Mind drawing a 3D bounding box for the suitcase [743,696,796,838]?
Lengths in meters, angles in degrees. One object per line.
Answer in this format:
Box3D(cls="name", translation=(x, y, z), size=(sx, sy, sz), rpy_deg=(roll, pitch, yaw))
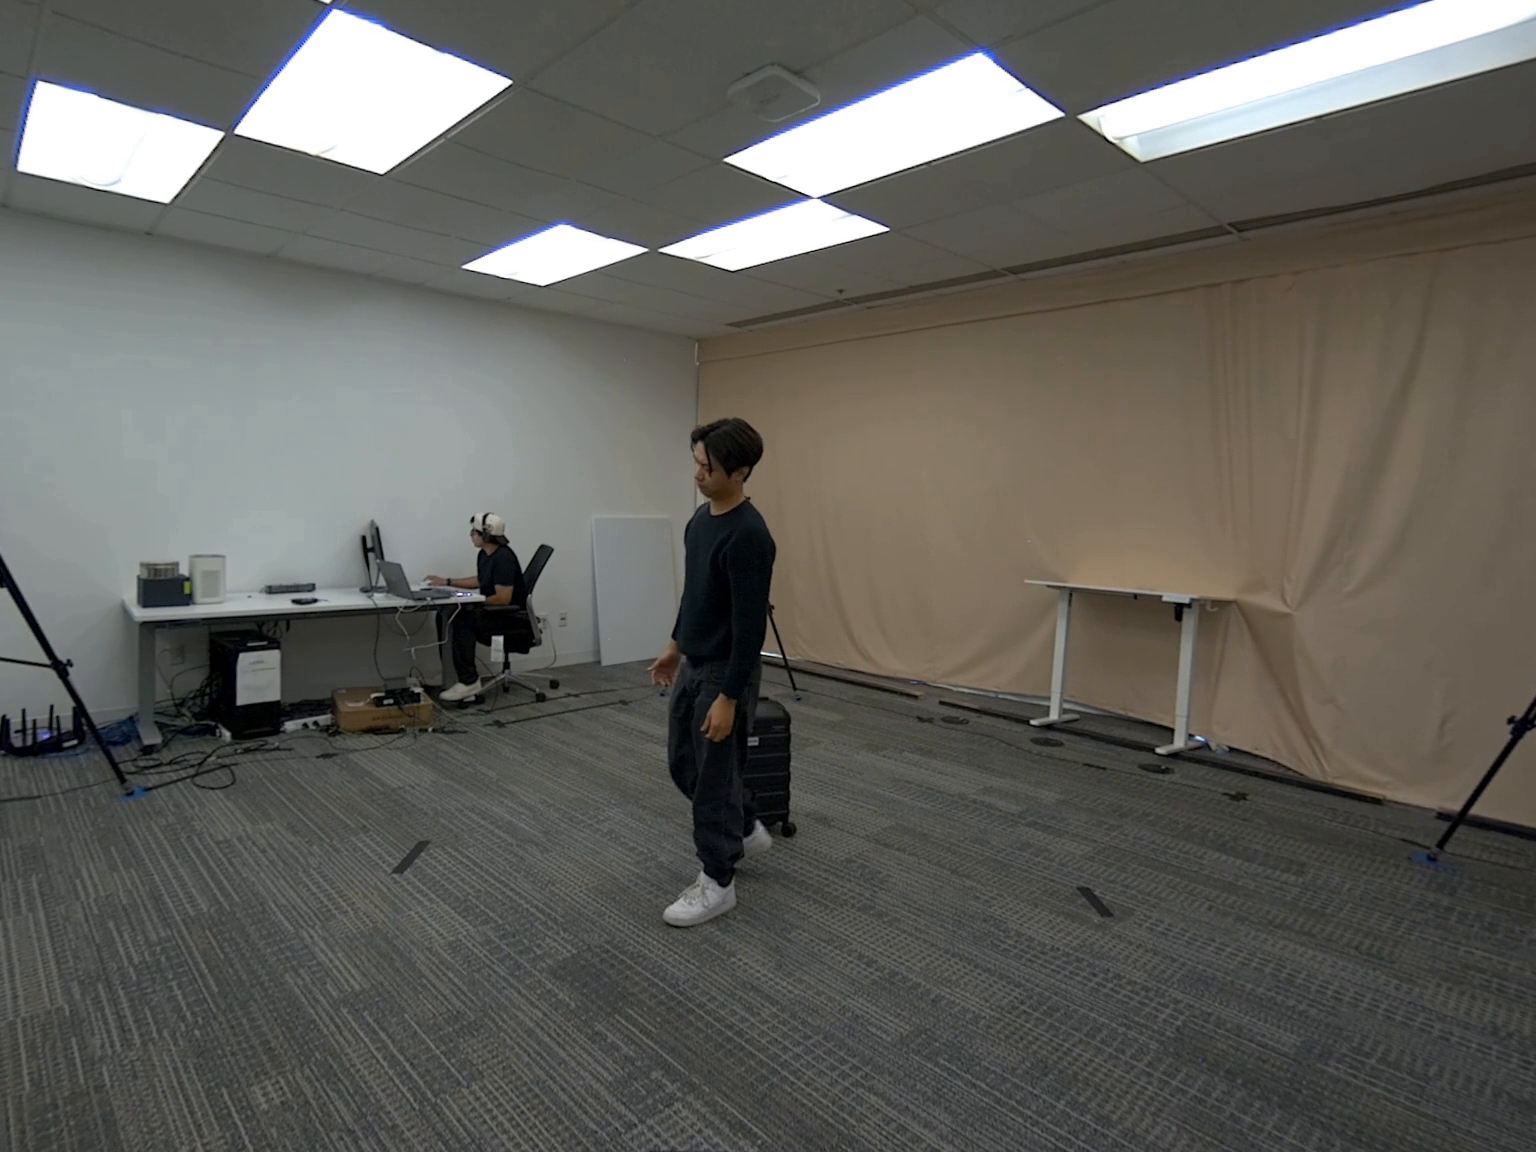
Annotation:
Box3D(cls="suitcase", translation=(-0.097, 0.794, 3.542), size=(0.370, 0.548, 0.252), rpy_deg=(0, 4, -17))
